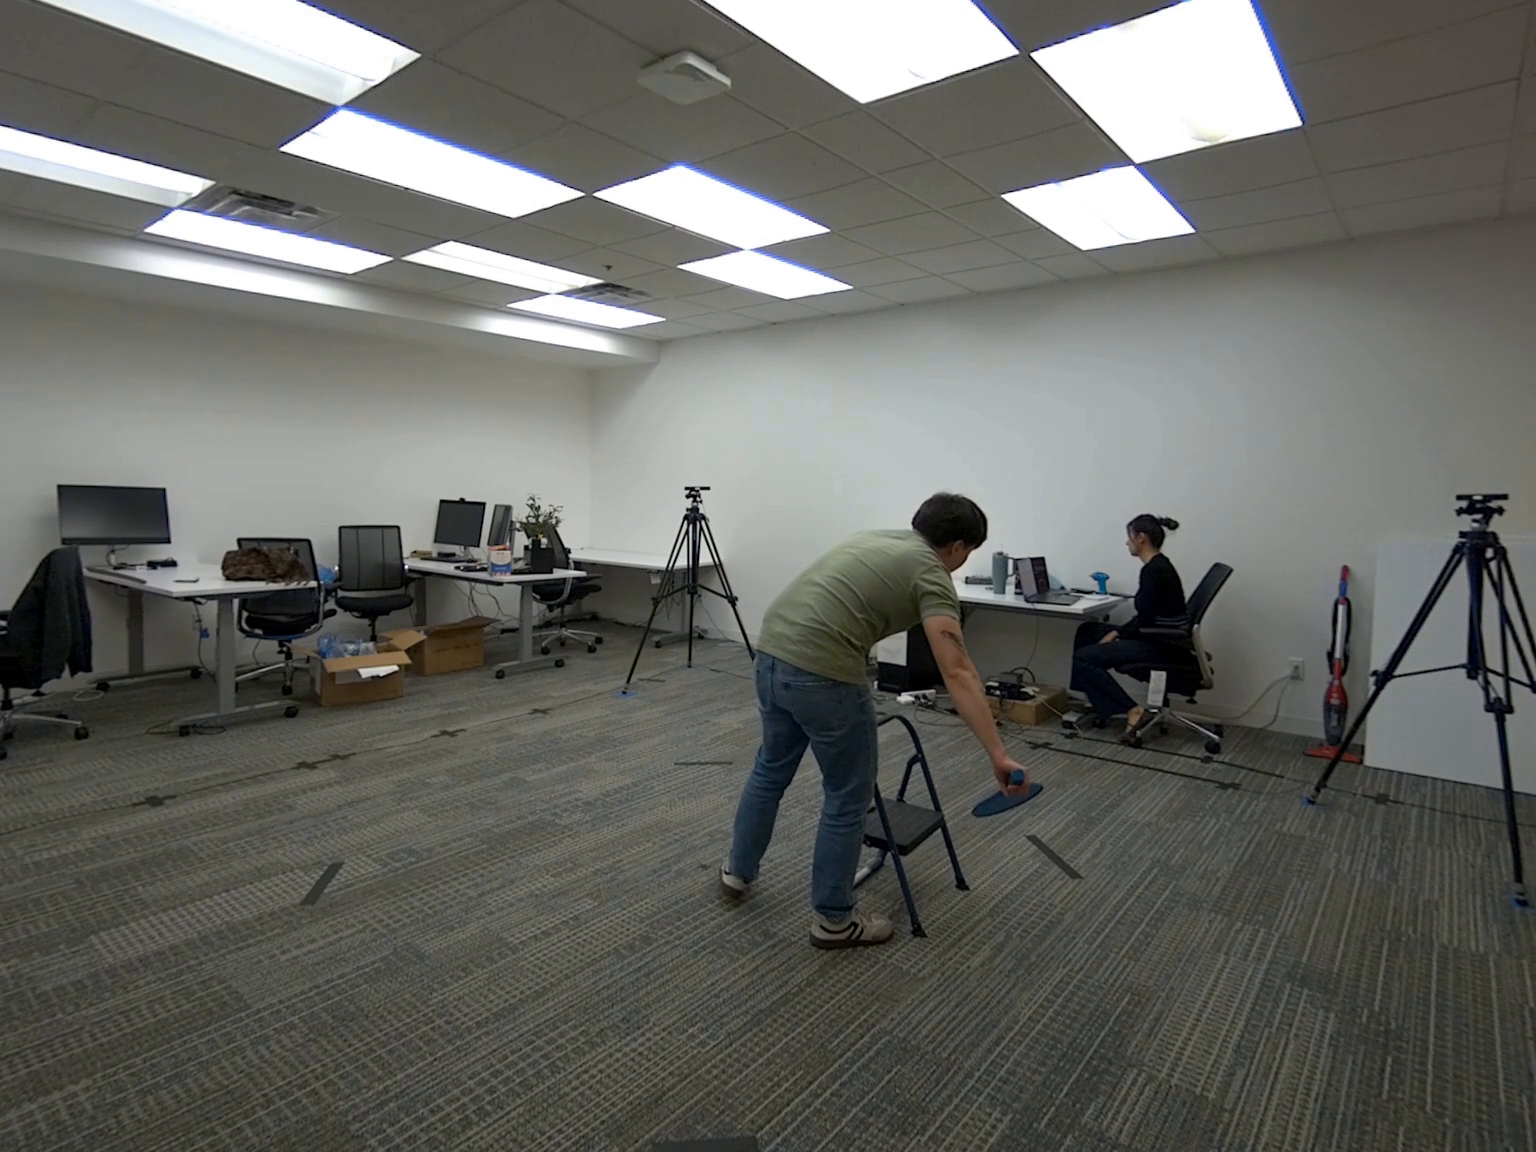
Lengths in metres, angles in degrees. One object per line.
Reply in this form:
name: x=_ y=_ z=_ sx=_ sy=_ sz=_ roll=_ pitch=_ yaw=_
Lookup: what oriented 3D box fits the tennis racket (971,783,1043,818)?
tennis racket: x=0.656 y=0.610 z=2.387 sx=0.214 sy=0.033 sz=0.420 roll=-15 pitch=-27 yaw=0
